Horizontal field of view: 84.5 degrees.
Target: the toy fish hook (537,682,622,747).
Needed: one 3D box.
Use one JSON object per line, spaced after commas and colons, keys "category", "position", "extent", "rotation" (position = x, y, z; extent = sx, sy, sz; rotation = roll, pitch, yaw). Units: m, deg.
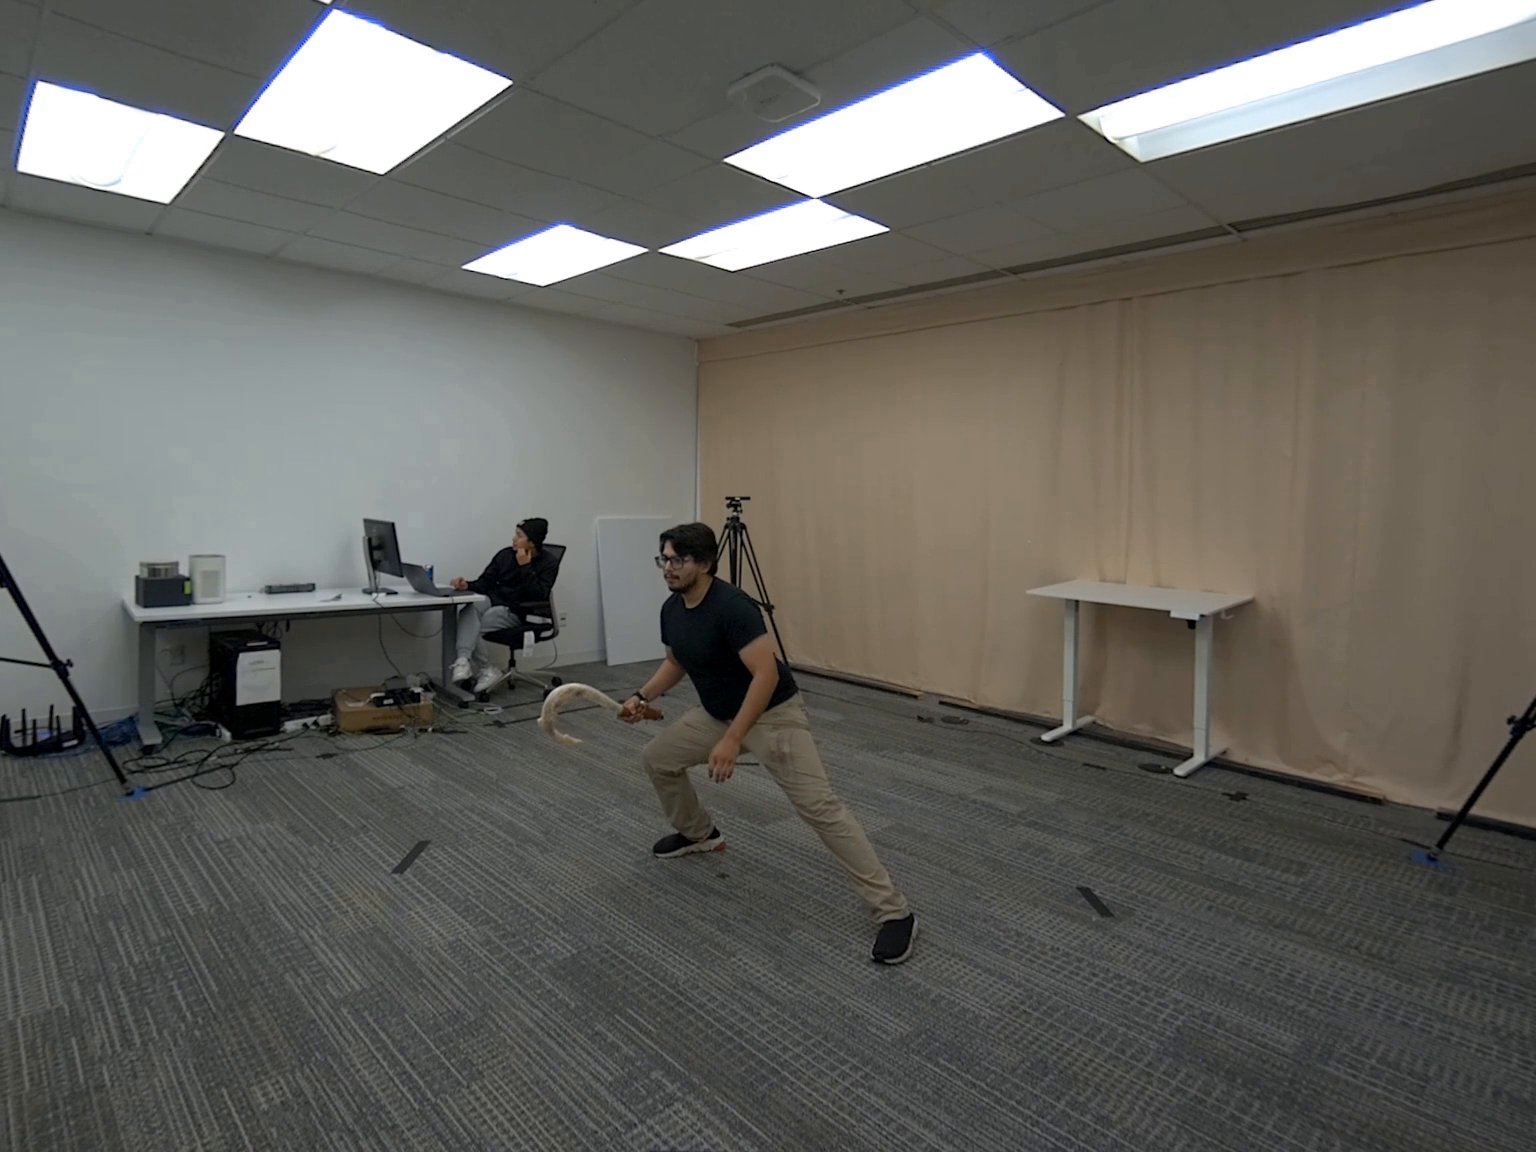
{"category": "toy fish hook", "position": [-0.595, 0.515, 3.036], "extent": [0.492, 0.224, 0.050], "rotation": [20, 5, -39]}
